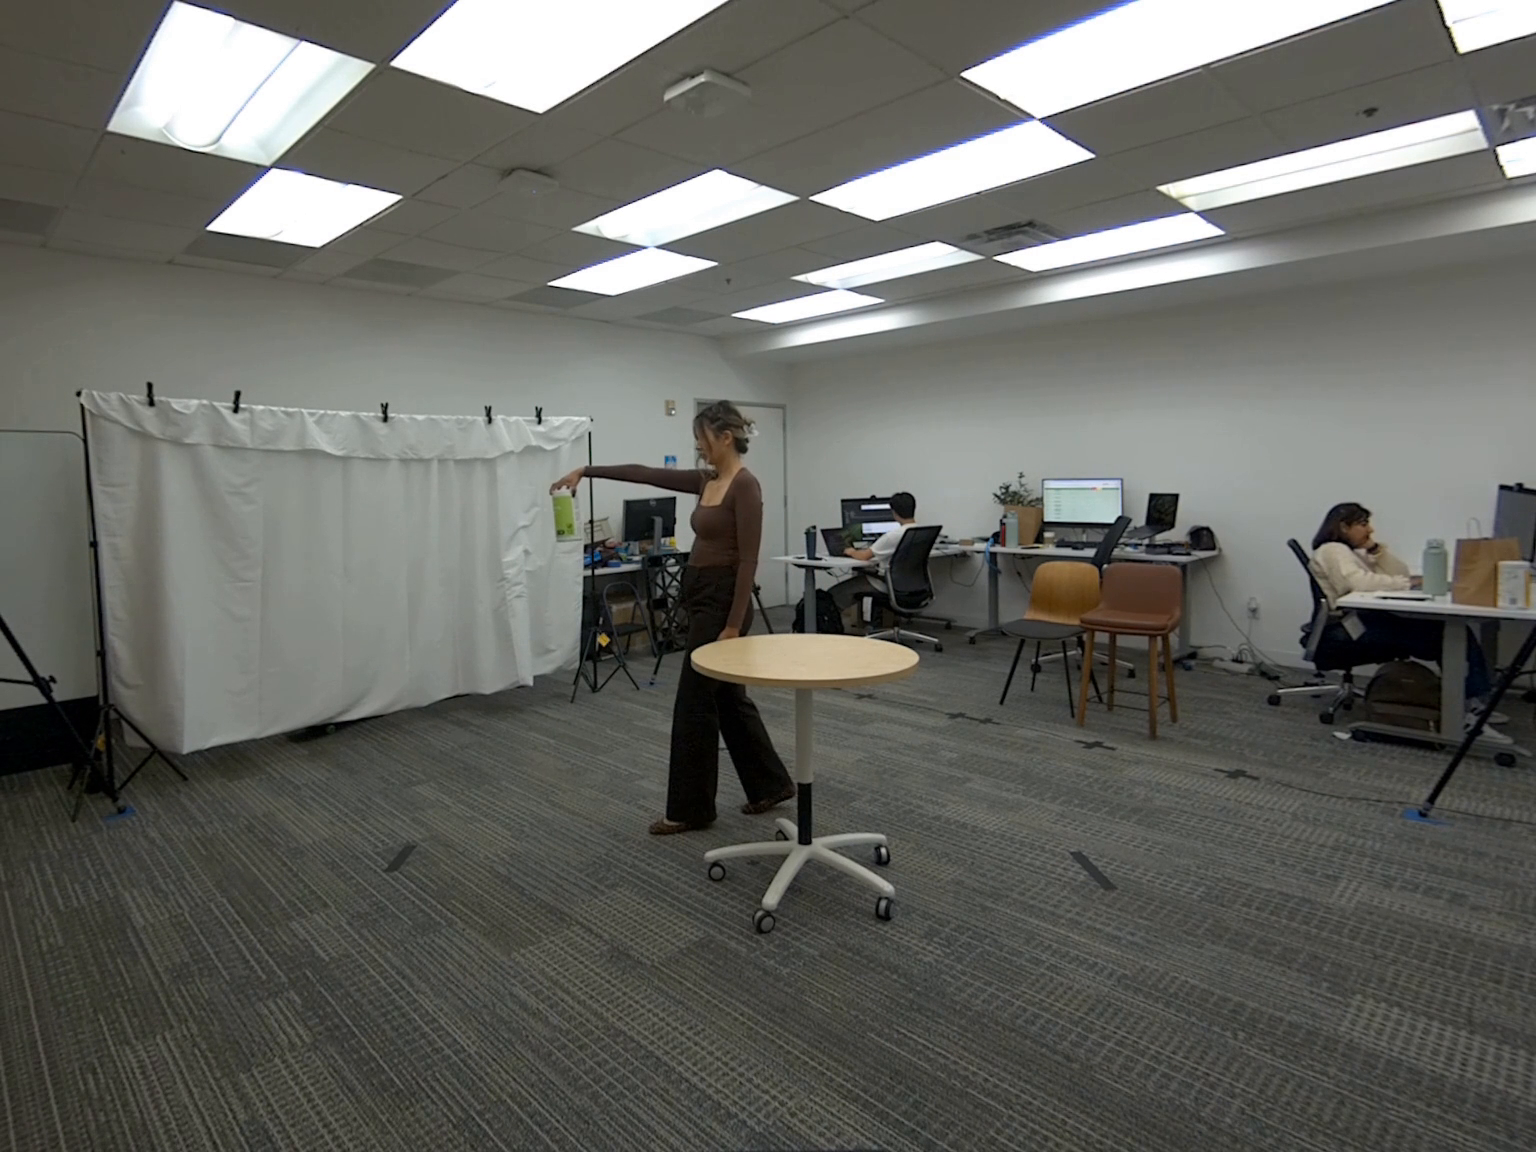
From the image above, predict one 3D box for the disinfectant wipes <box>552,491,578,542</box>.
[{"bbox_3d":[-0.837,-0.255,3.566,0.118,0.217,0.118,-5,3,-1],"label":"disinfectant wipes"}]
